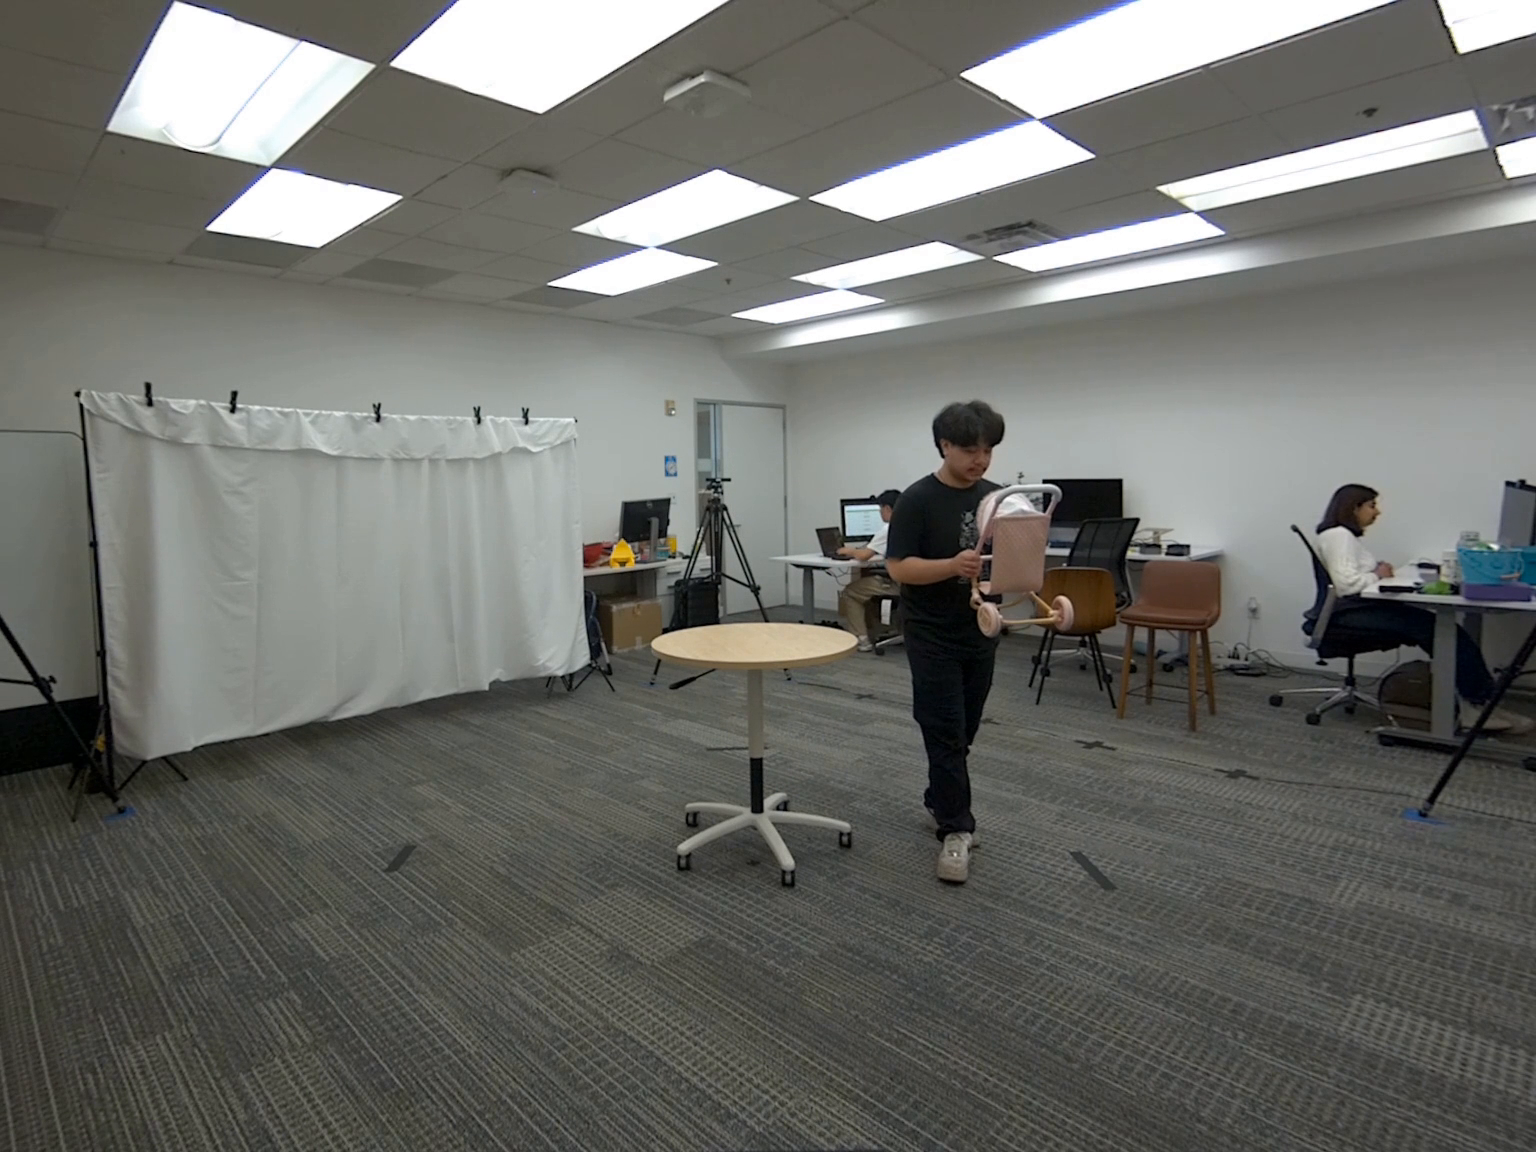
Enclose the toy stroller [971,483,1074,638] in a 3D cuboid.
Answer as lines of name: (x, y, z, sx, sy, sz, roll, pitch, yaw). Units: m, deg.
toy stroller: (0.796, -0.041, 2.791, 0.280, 0.530, 0.345, -4, 9, -4)
